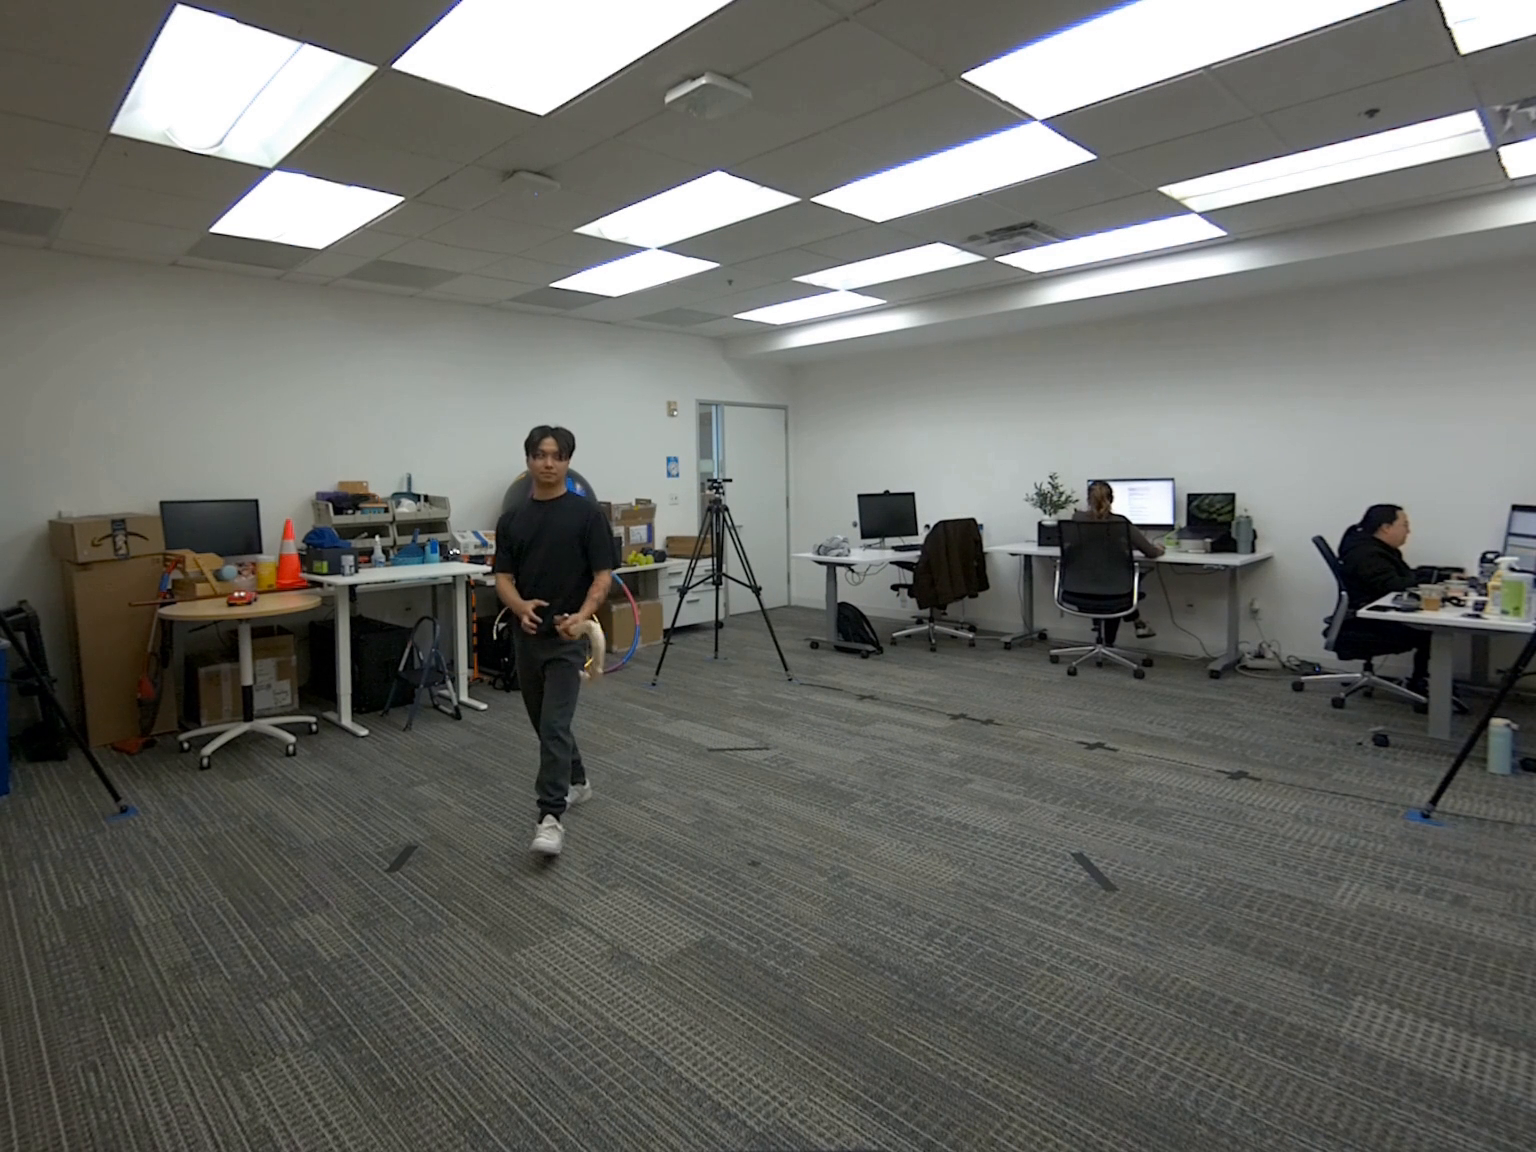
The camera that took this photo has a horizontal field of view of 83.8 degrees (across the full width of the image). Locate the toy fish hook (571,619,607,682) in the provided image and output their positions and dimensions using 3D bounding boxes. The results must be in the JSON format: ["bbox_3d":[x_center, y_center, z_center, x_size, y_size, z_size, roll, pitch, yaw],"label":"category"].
[{"bbox_3d":[-0.701,0.260,3.097,0.047,0.225,0.520,8,-1,-31],"label":"toy fish hook"}]
